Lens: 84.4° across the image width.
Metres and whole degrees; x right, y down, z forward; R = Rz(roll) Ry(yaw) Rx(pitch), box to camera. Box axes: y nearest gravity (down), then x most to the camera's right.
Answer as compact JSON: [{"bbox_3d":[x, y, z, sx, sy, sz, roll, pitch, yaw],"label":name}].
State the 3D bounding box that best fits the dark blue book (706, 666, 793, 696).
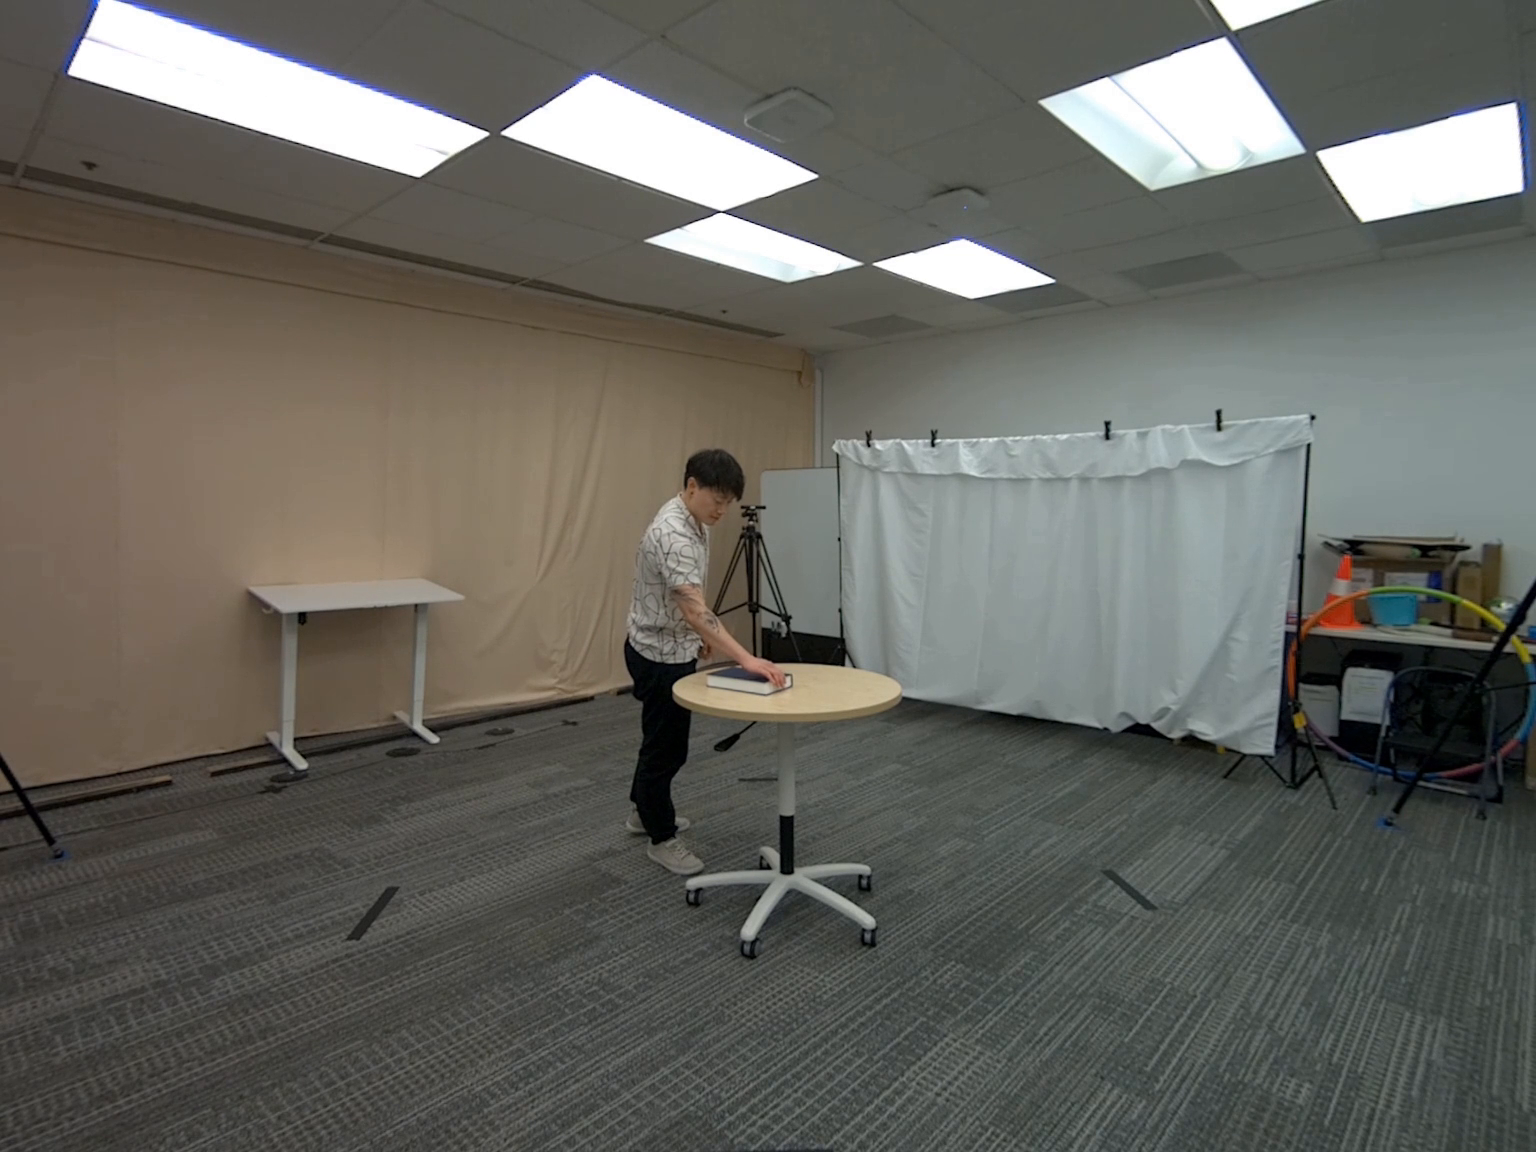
[{"bbox_3d":[-0.065,0.353,2.830,0.253,0.045,0.159,4,6,35],"label":"dark blue book"}]
